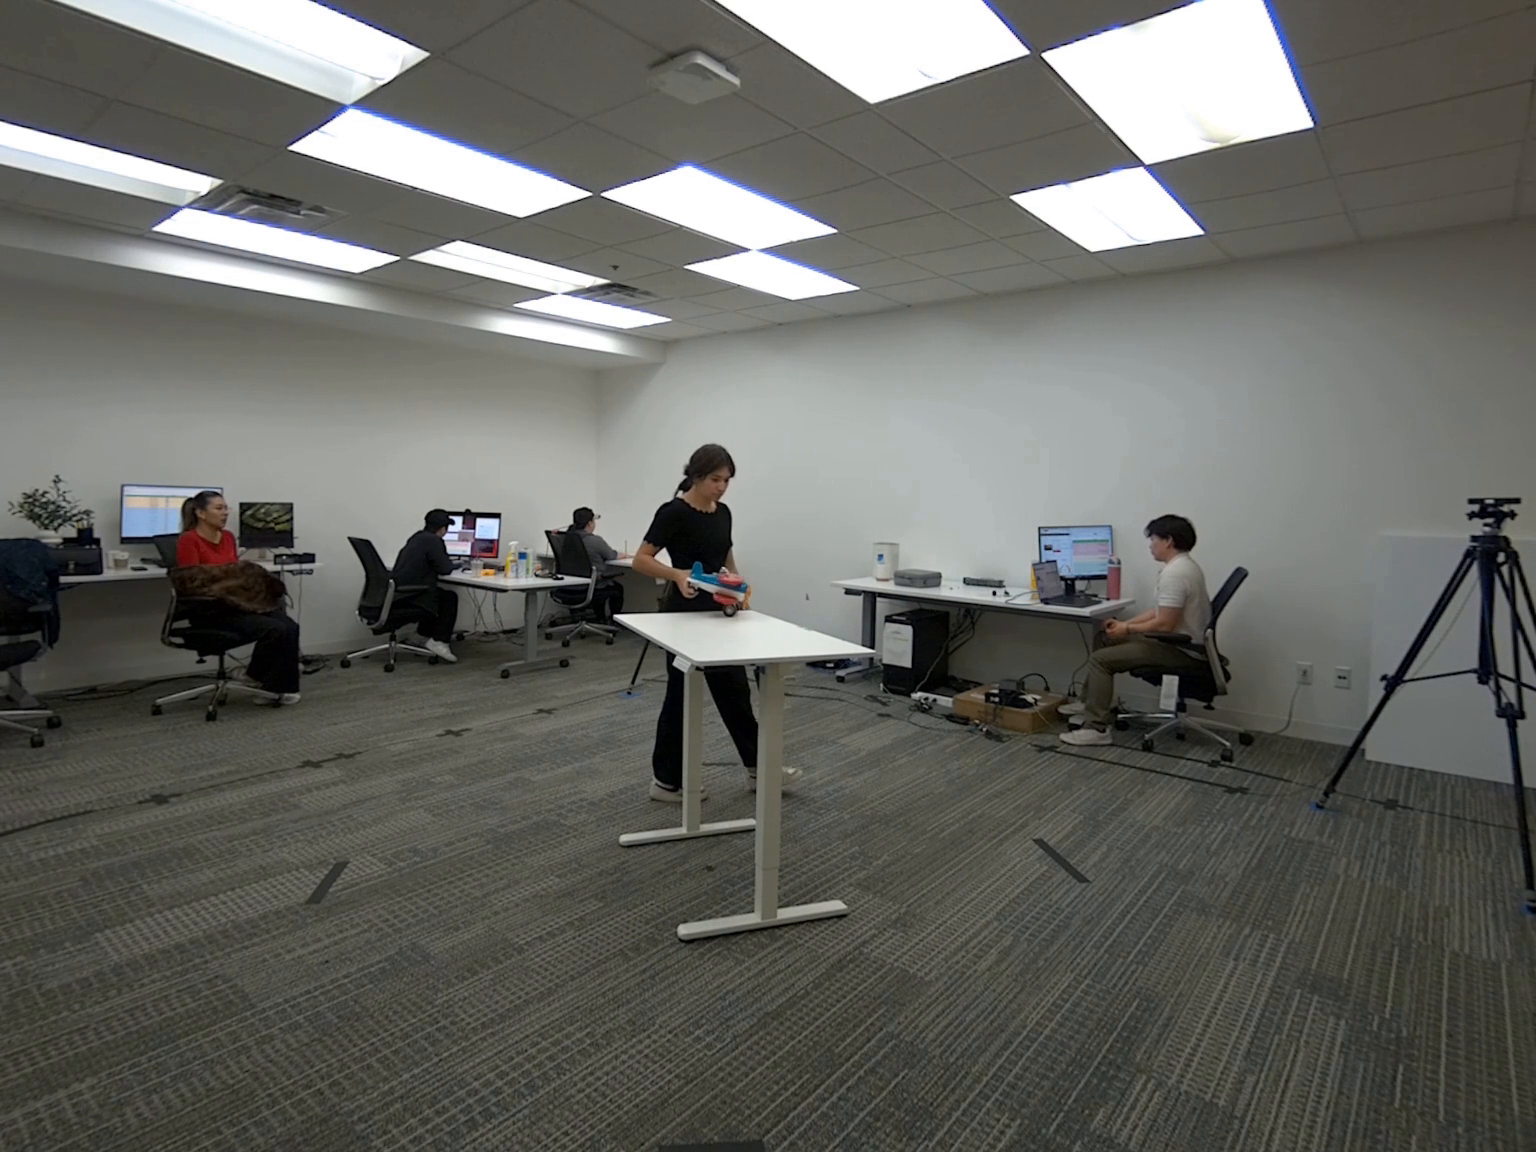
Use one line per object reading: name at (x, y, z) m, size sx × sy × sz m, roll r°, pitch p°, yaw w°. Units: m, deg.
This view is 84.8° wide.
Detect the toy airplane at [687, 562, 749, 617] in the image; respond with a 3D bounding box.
toy airplane at (-0.208, 0.048, 3.418) m, size 0.251 × 0.156 × 0.259 m, roll 25°, pitch 7°, yaw -24°
